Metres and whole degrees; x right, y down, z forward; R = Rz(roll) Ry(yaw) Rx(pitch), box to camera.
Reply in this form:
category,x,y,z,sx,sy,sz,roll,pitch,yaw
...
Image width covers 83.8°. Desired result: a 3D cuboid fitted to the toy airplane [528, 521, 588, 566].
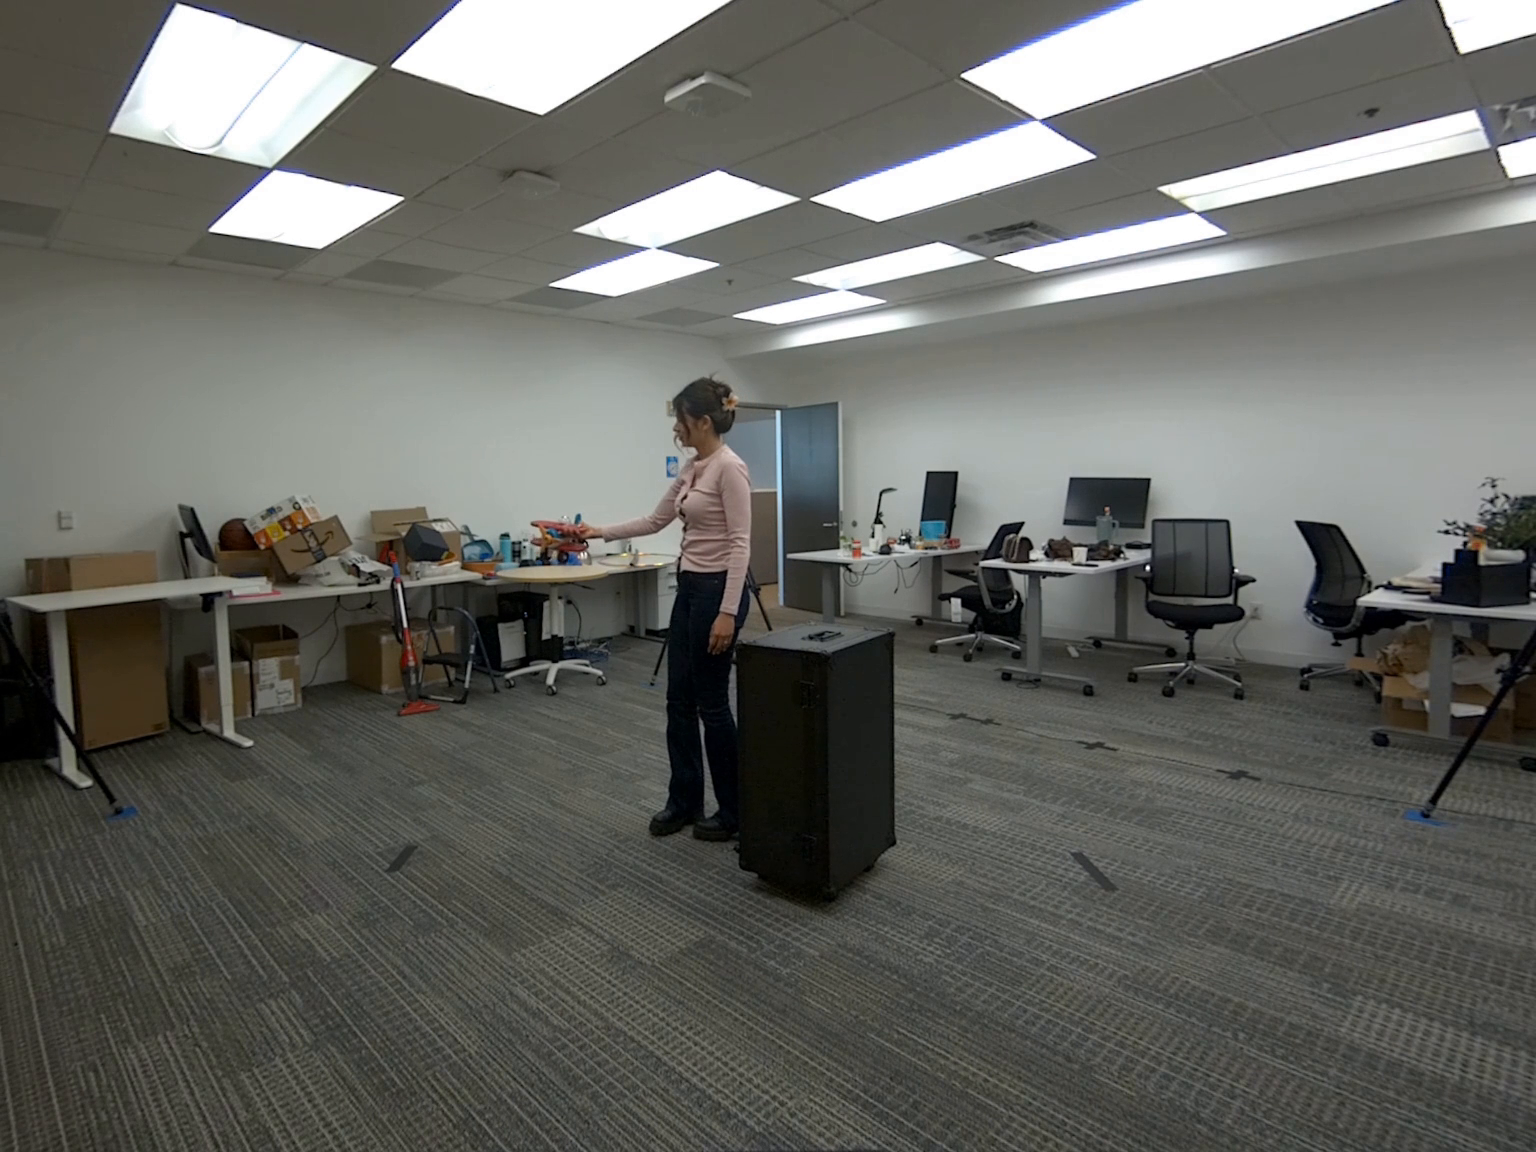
category,x,y,z,sx,sy,sz,roll,pitch,yaw
toy airplane,-0.874,-0.170,3.585,0.250,0.153,0.266,-5,28,-4
